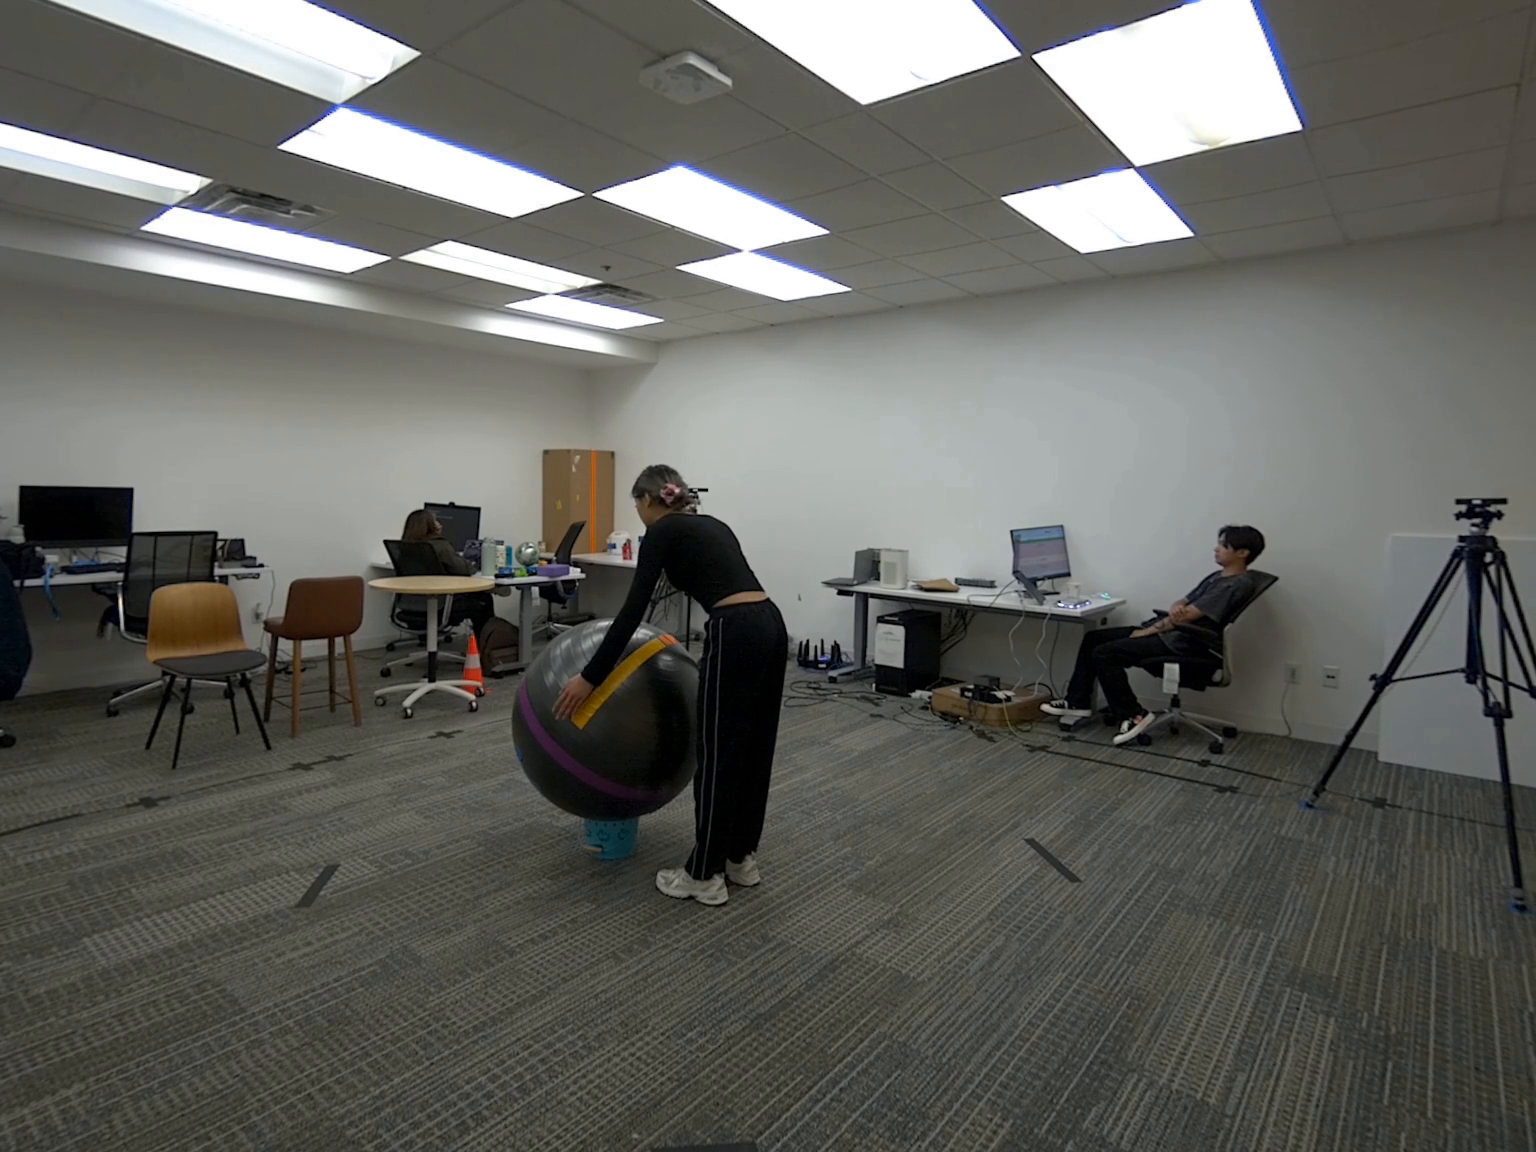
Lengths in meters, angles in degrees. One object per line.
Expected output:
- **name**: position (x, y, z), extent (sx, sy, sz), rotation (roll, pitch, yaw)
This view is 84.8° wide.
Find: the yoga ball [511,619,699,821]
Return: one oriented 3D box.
- **yoga ball**: position (-0.607, 0.542, 3.253), extent (0.757, 0.755, 0.762), rotation (1, 4, -2)
